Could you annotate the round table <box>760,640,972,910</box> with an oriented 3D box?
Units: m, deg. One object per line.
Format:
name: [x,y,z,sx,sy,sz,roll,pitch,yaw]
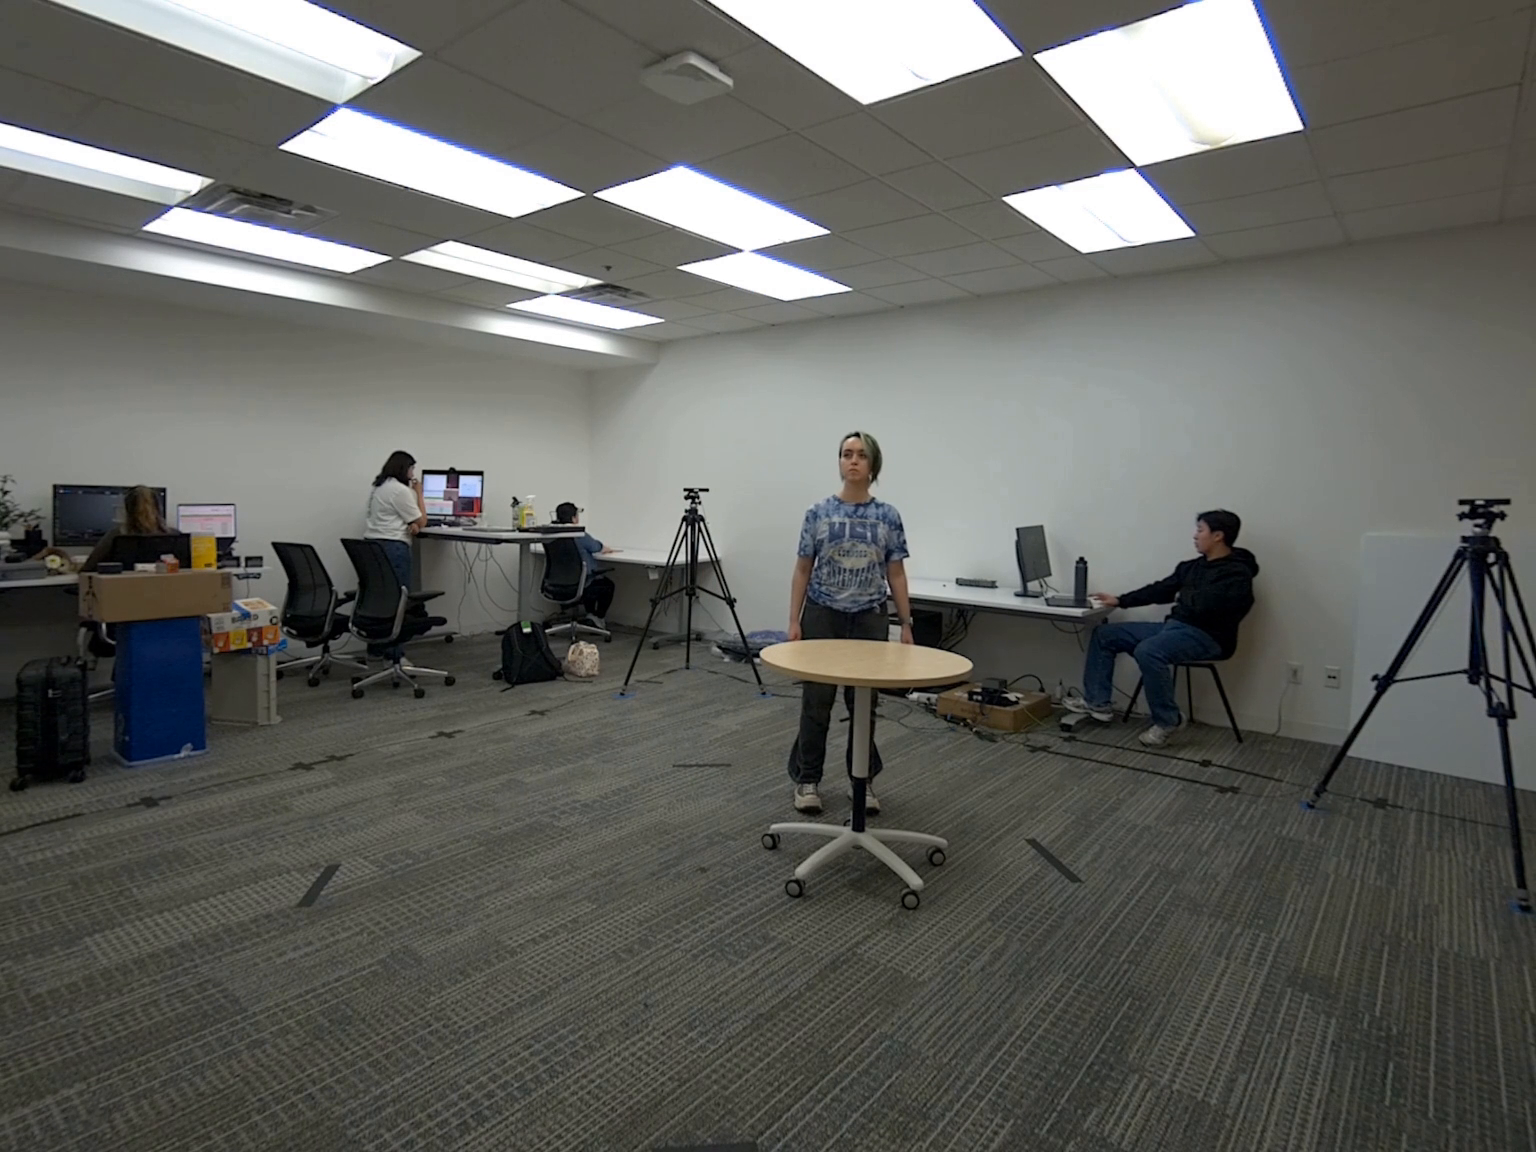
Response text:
round table: [0.326,0.689,3.136,0.763,0.791,0.768,1,4,-2]
